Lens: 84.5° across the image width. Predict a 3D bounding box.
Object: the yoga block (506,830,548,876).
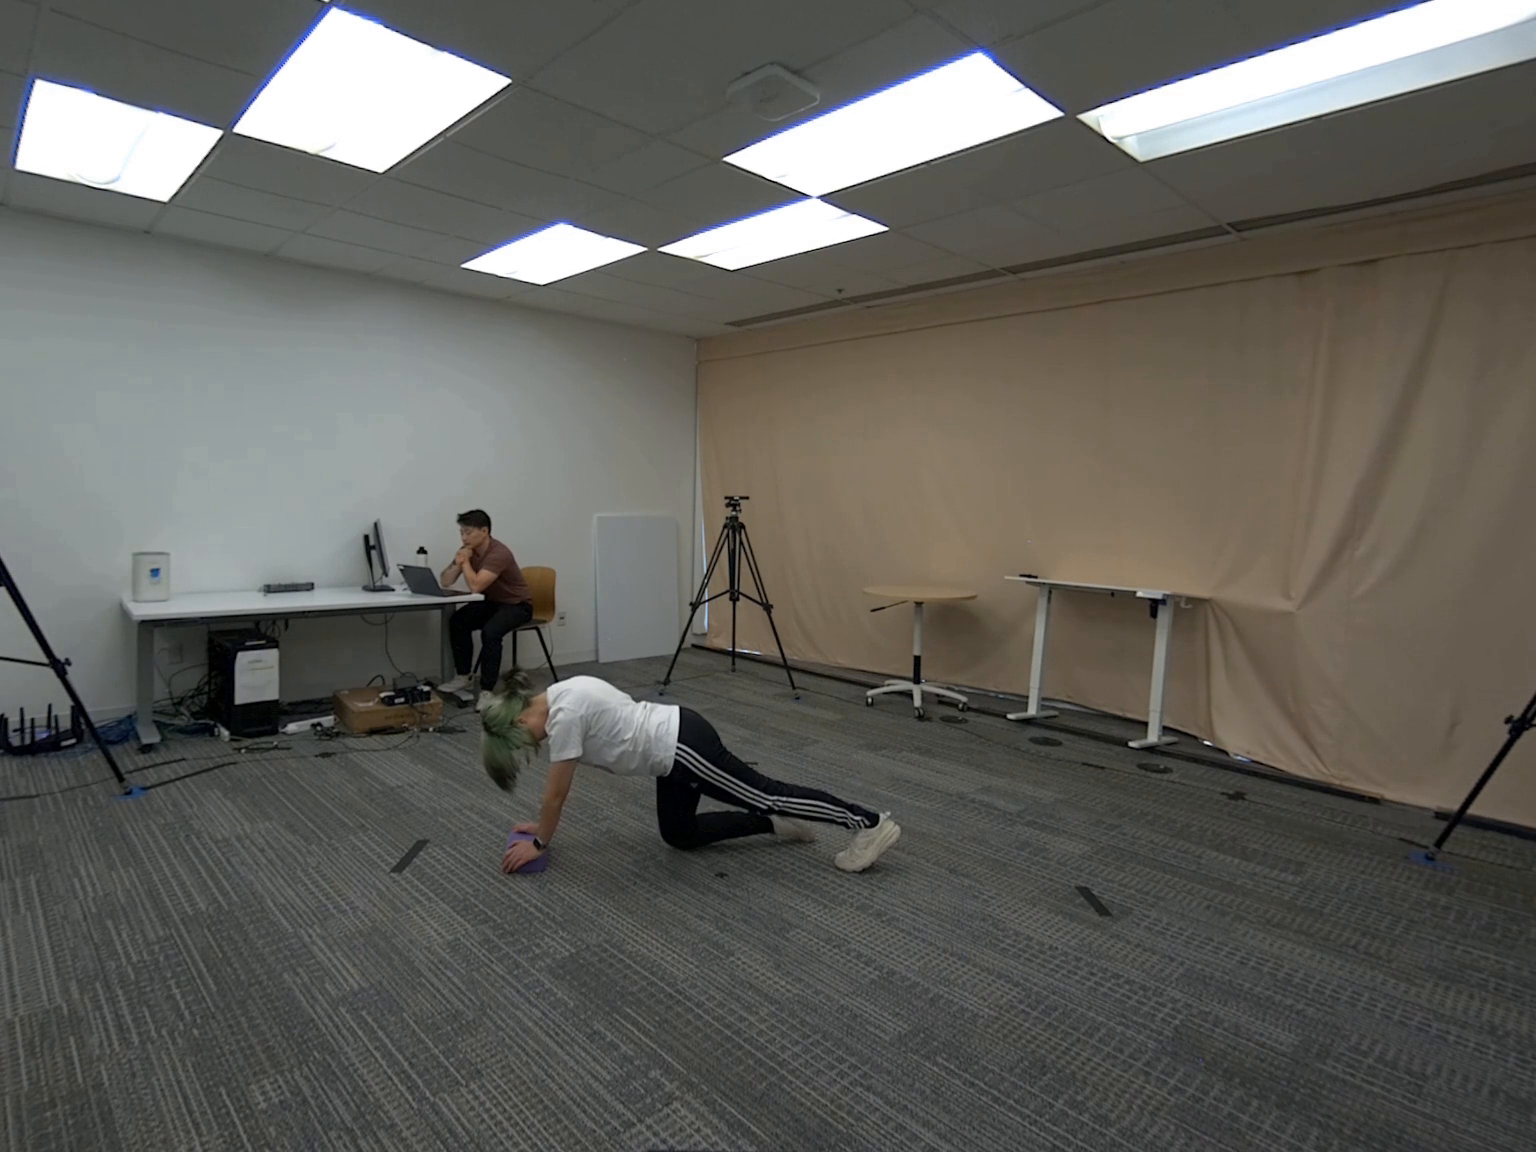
[{"bbox_3d":[-0.913,1.040,3.197,0.148,0.076,0.232,0,7,-9],"label":"yoga block"}]
